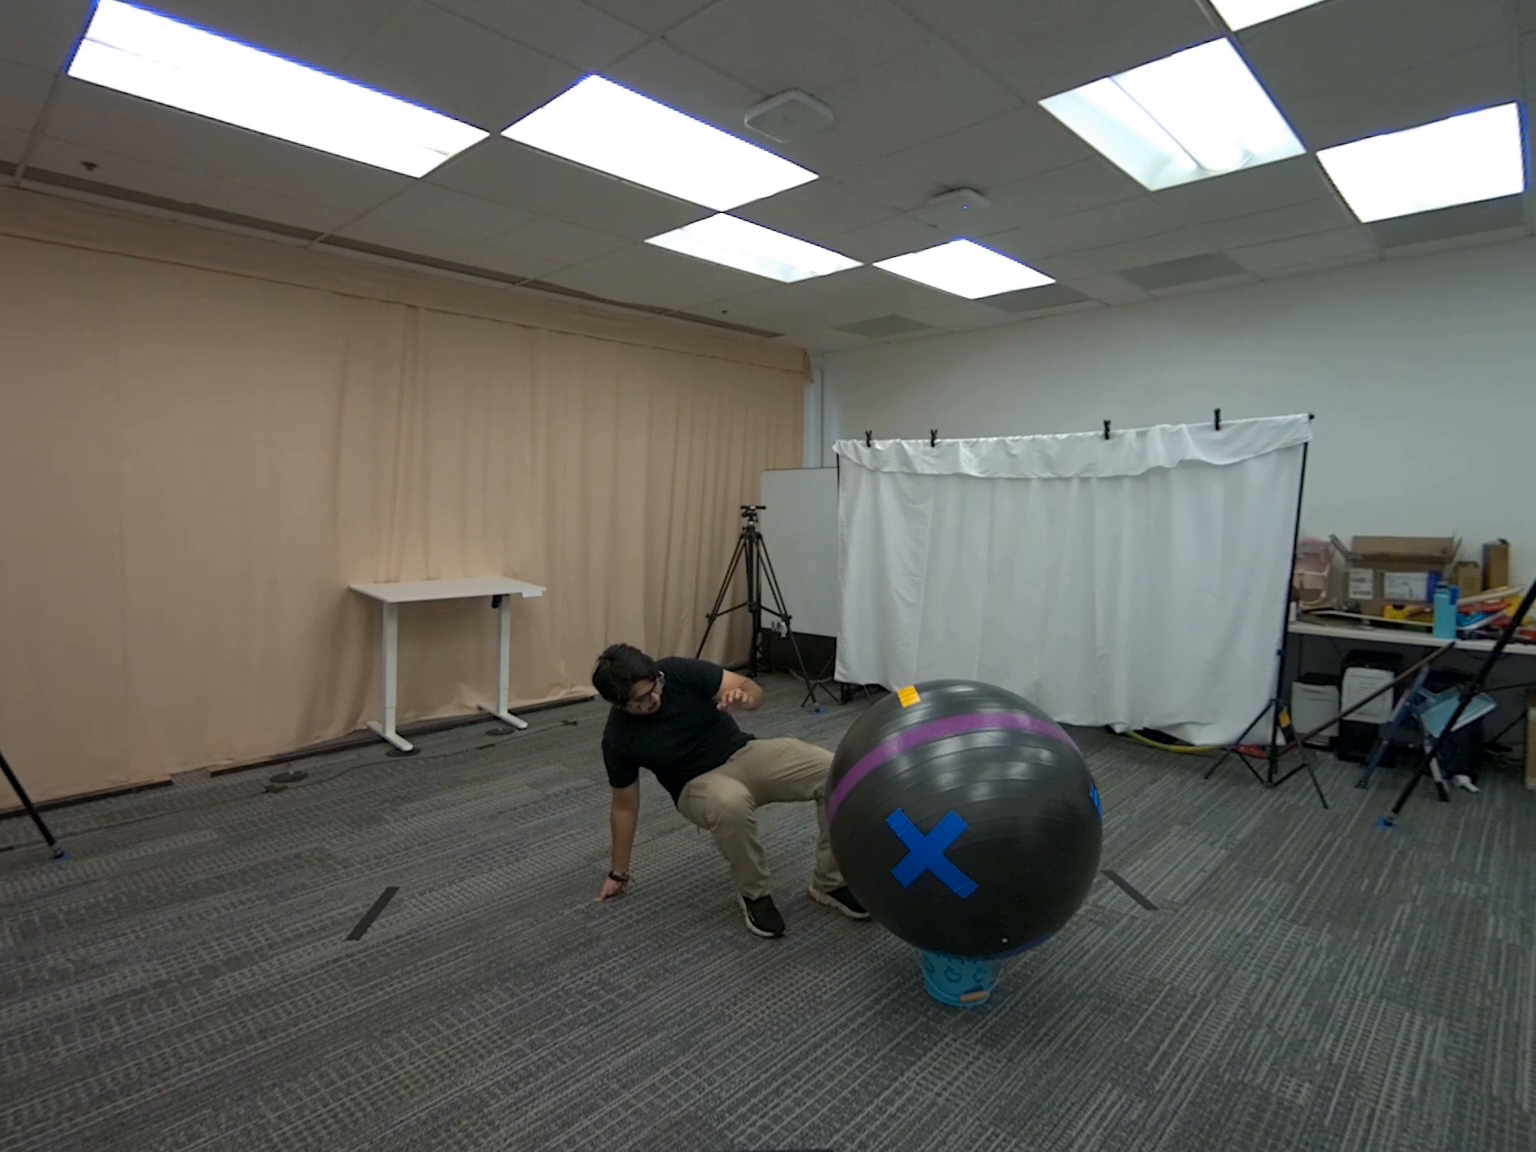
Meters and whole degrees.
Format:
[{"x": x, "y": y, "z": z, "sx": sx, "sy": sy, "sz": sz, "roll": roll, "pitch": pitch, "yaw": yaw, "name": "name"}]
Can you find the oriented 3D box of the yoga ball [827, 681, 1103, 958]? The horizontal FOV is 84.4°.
[{"x": 0.552, "y": 0.684, "z": 2.406, "sx": 0.757, "sy": 0.756, "sz": 0.760, "roll": 0, "pitch": 4, "yaw": -2, "name": "yoga ball"}]
